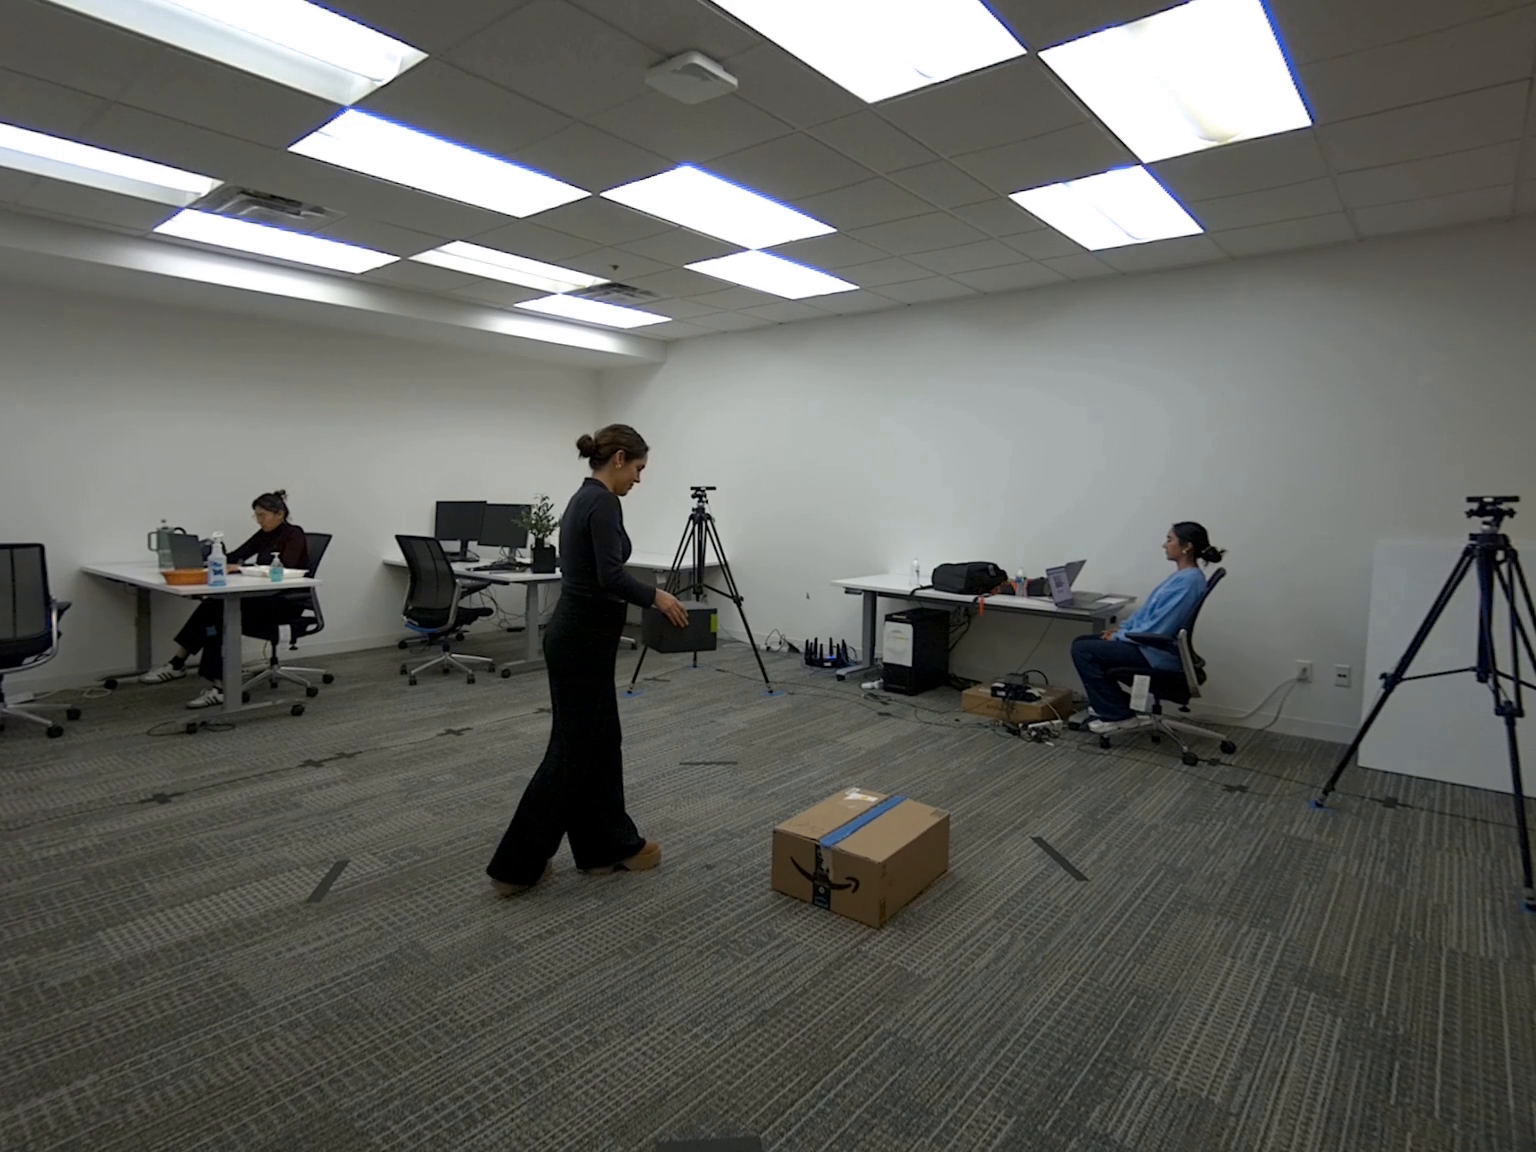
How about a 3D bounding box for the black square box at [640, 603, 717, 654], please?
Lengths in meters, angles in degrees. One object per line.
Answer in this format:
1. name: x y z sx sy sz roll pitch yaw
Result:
1. black square box: -0.337 0.179 3.128 0.212 0.155 0.234 -1 5 -24
